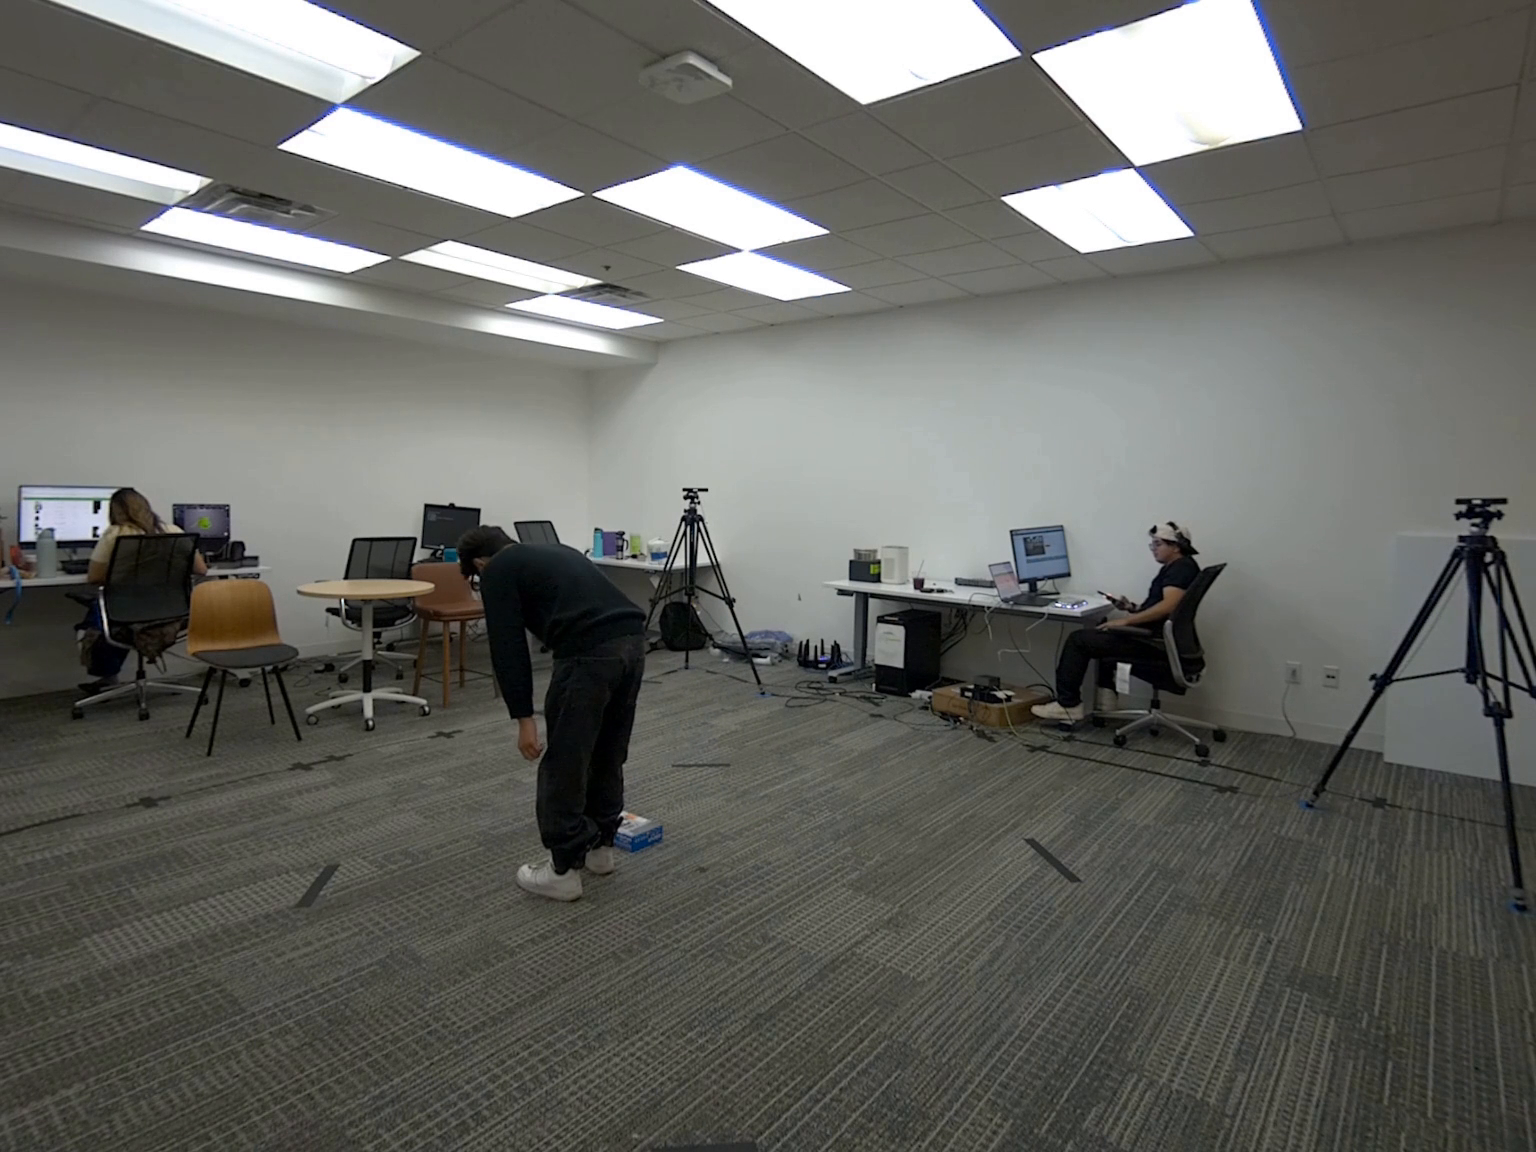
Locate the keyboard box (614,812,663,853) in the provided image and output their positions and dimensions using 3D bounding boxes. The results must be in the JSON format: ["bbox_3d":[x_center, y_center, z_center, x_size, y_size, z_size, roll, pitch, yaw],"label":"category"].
[{"bbox_3d":[-0.649,0.998,3.442,0.451,0.059,0.171,5,6,38],"label":"keyboard box"}]
